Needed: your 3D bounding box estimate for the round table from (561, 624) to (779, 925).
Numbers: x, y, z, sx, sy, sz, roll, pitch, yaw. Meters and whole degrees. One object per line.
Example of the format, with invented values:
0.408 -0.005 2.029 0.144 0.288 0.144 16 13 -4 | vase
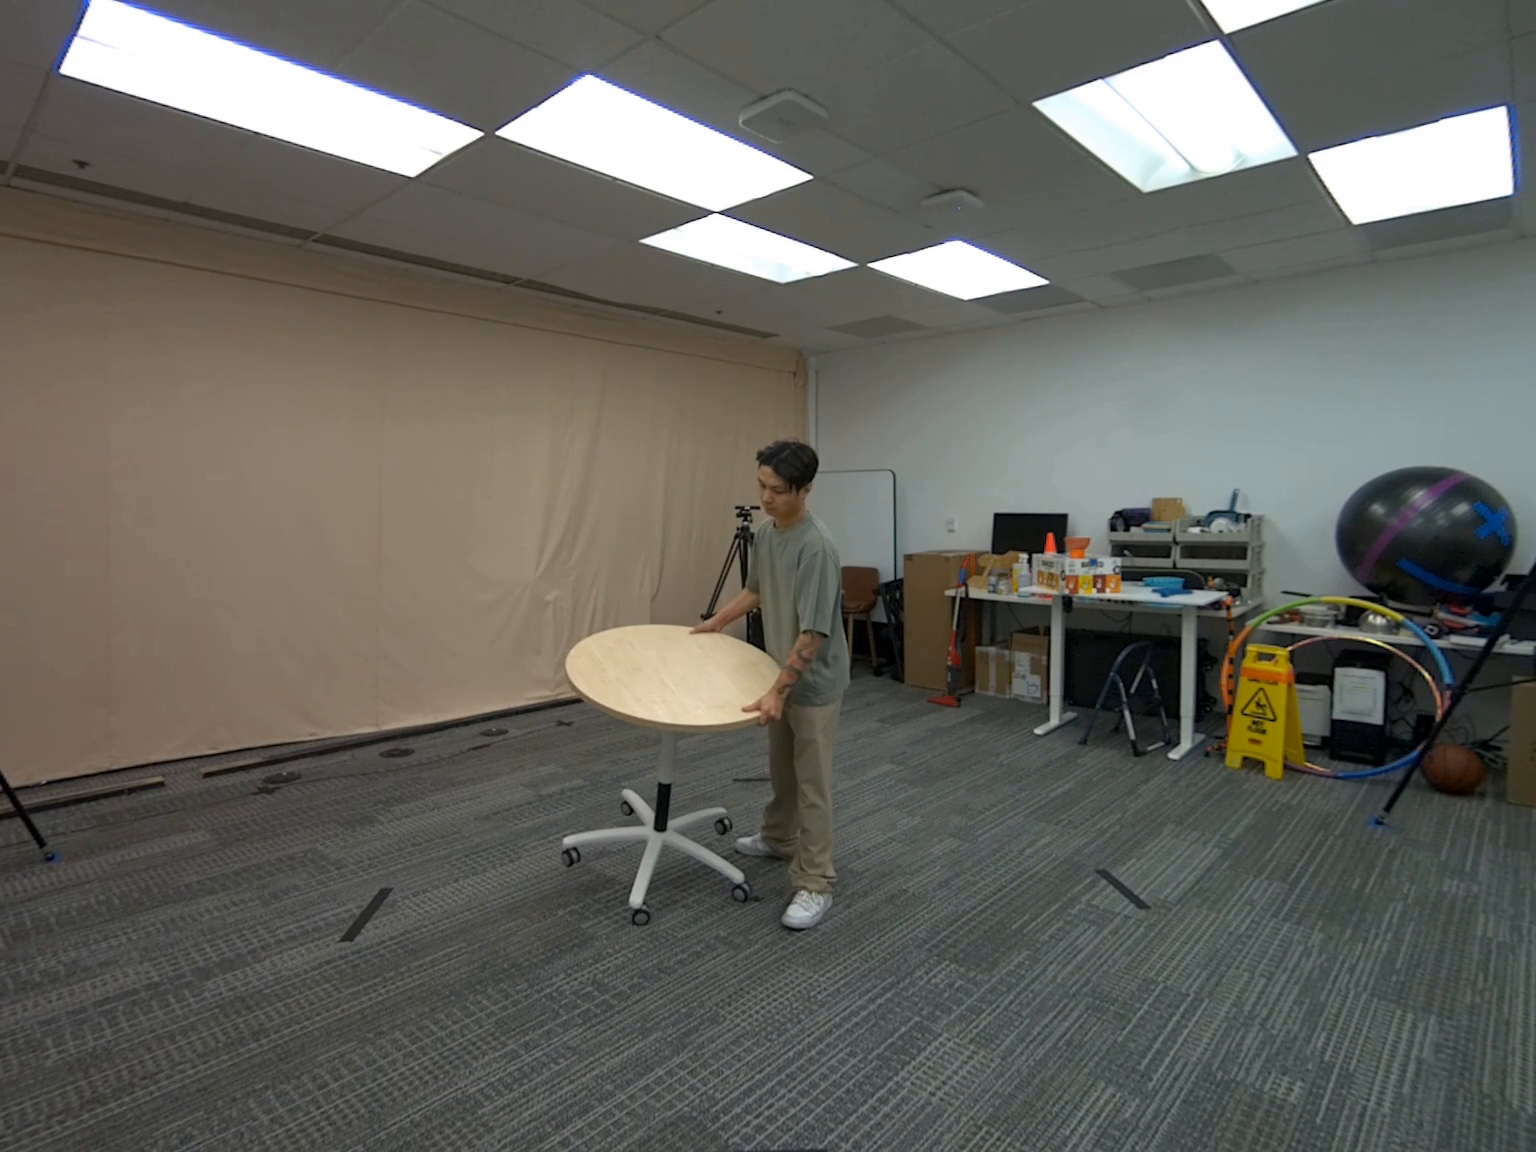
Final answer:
-0.366 0.698 3.009 0.783 0.780 0.794 6 16 -4 | round table
